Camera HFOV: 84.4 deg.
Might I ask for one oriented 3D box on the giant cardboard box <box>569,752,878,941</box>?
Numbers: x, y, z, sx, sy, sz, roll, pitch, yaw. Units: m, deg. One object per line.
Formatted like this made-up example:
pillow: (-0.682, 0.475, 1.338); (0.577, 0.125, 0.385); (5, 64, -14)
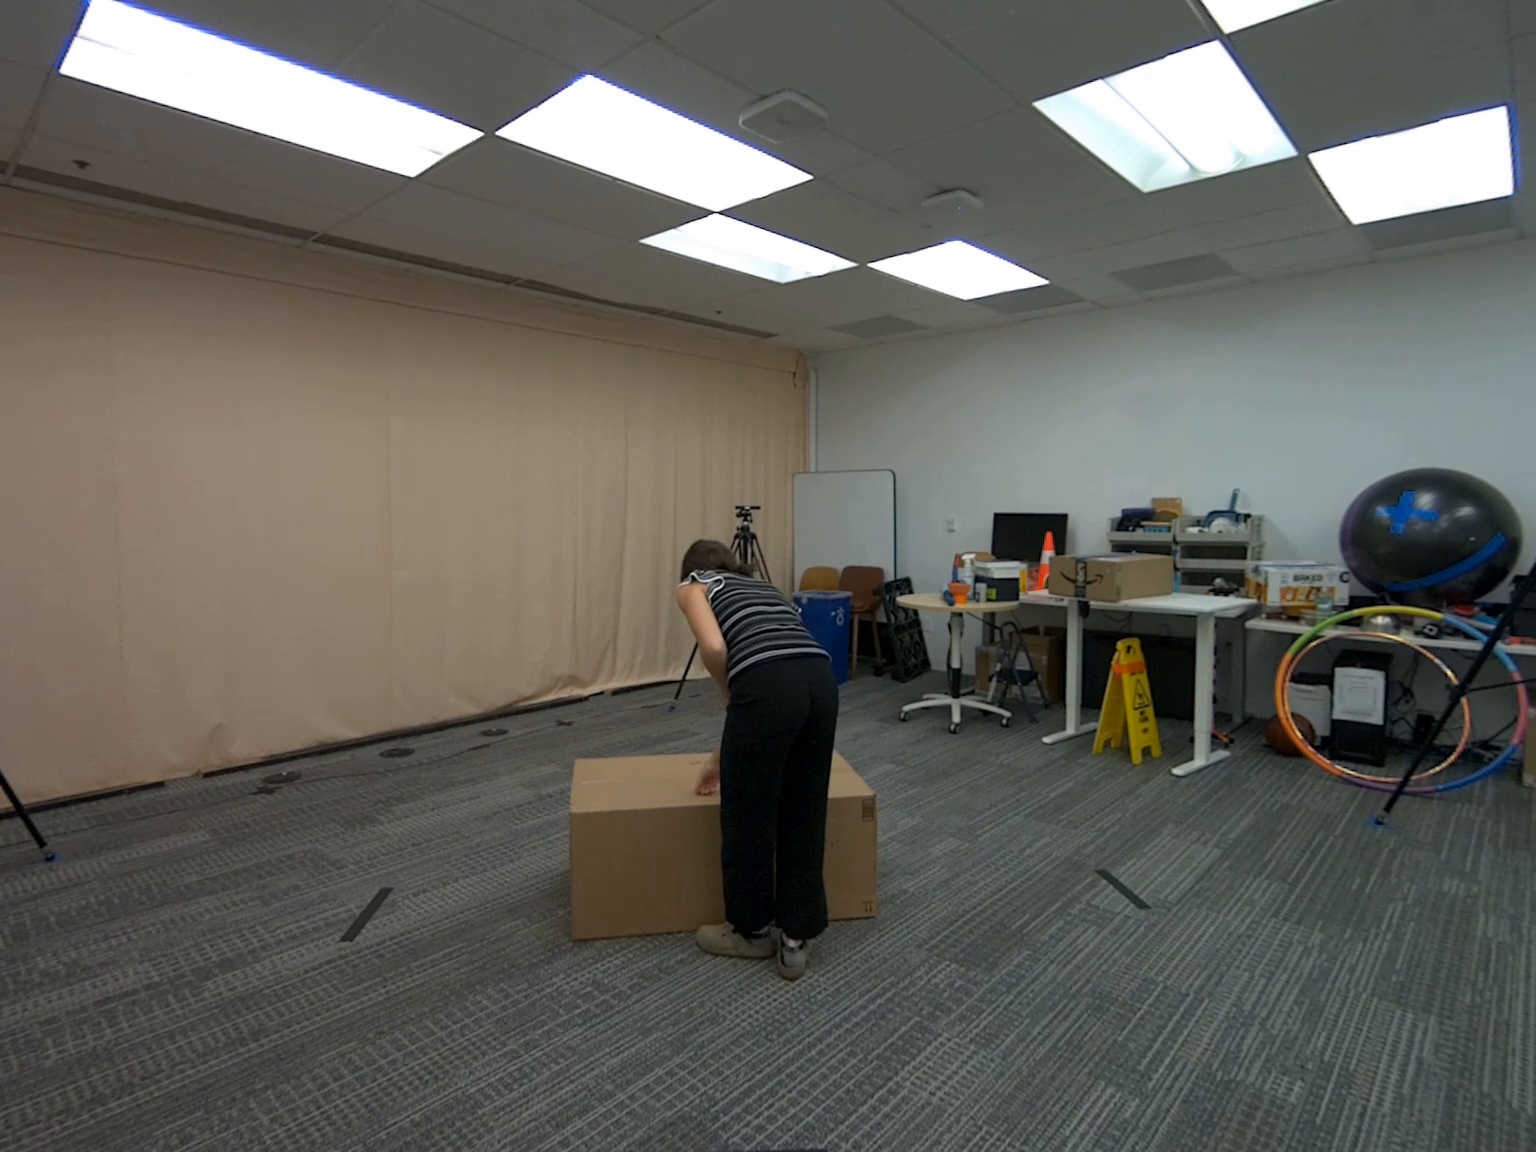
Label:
giant cardboard box: (-0.188, 0.929, 3.043); (1.016, 0.425, 0.584); (-1, 5, -9)
